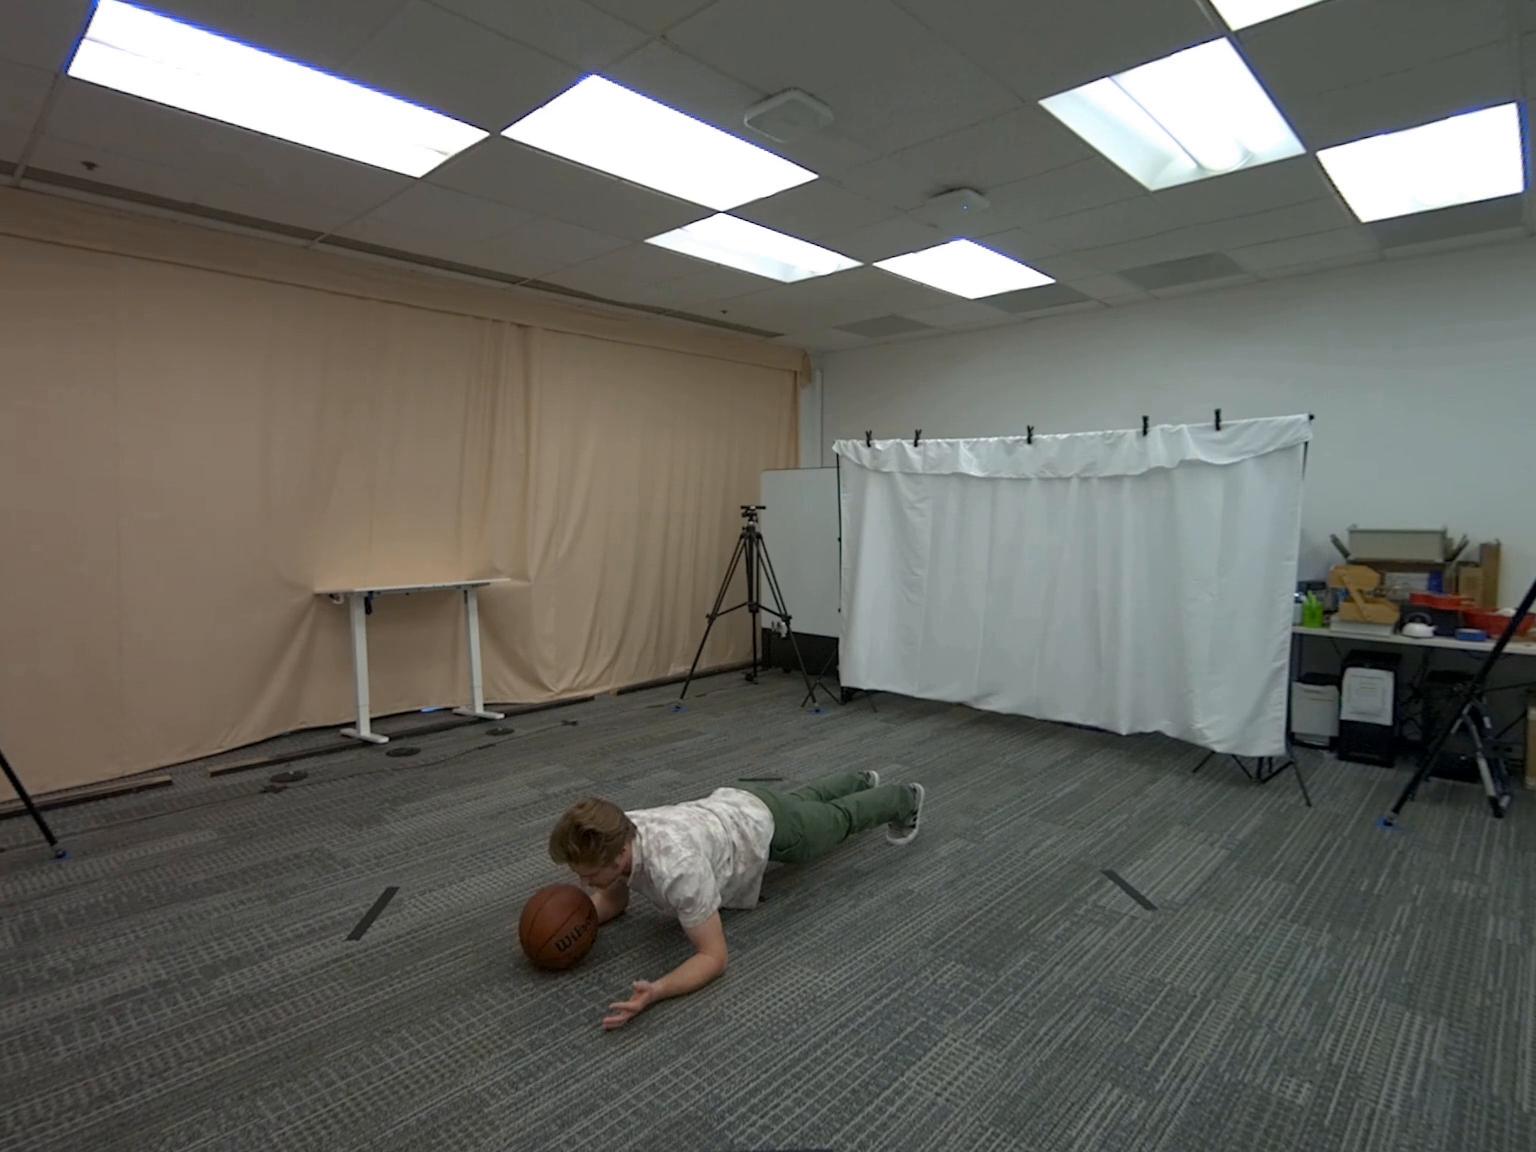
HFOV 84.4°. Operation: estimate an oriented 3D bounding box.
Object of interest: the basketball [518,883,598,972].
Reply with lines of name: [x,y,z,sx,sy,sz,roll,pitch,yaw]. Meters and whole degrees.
basketball: [-0.632,1.065,2.564,0.236,0.235,0.237,0,4,-2]
